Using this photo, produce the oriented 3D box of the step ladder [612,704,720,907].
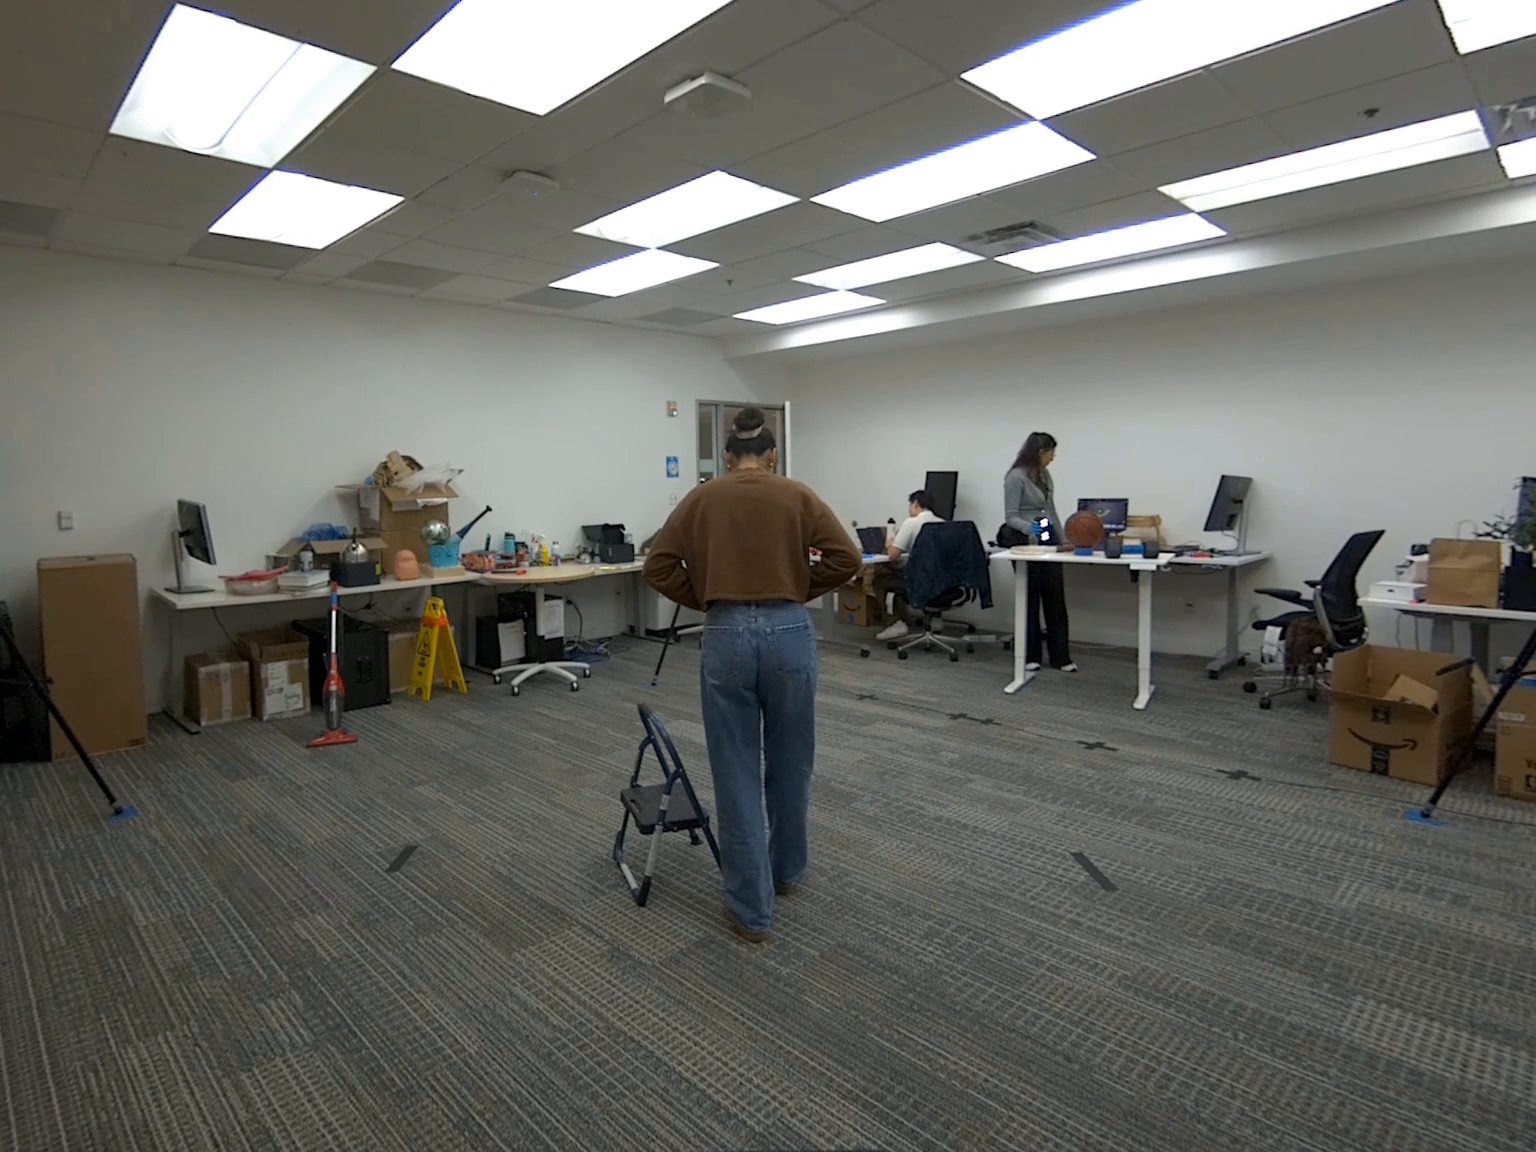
[{"bbox_3d":[-0.347,0.756,3.032,0.343,0.604,0.440,-2,4,-22],"label":"step ladder"}]
